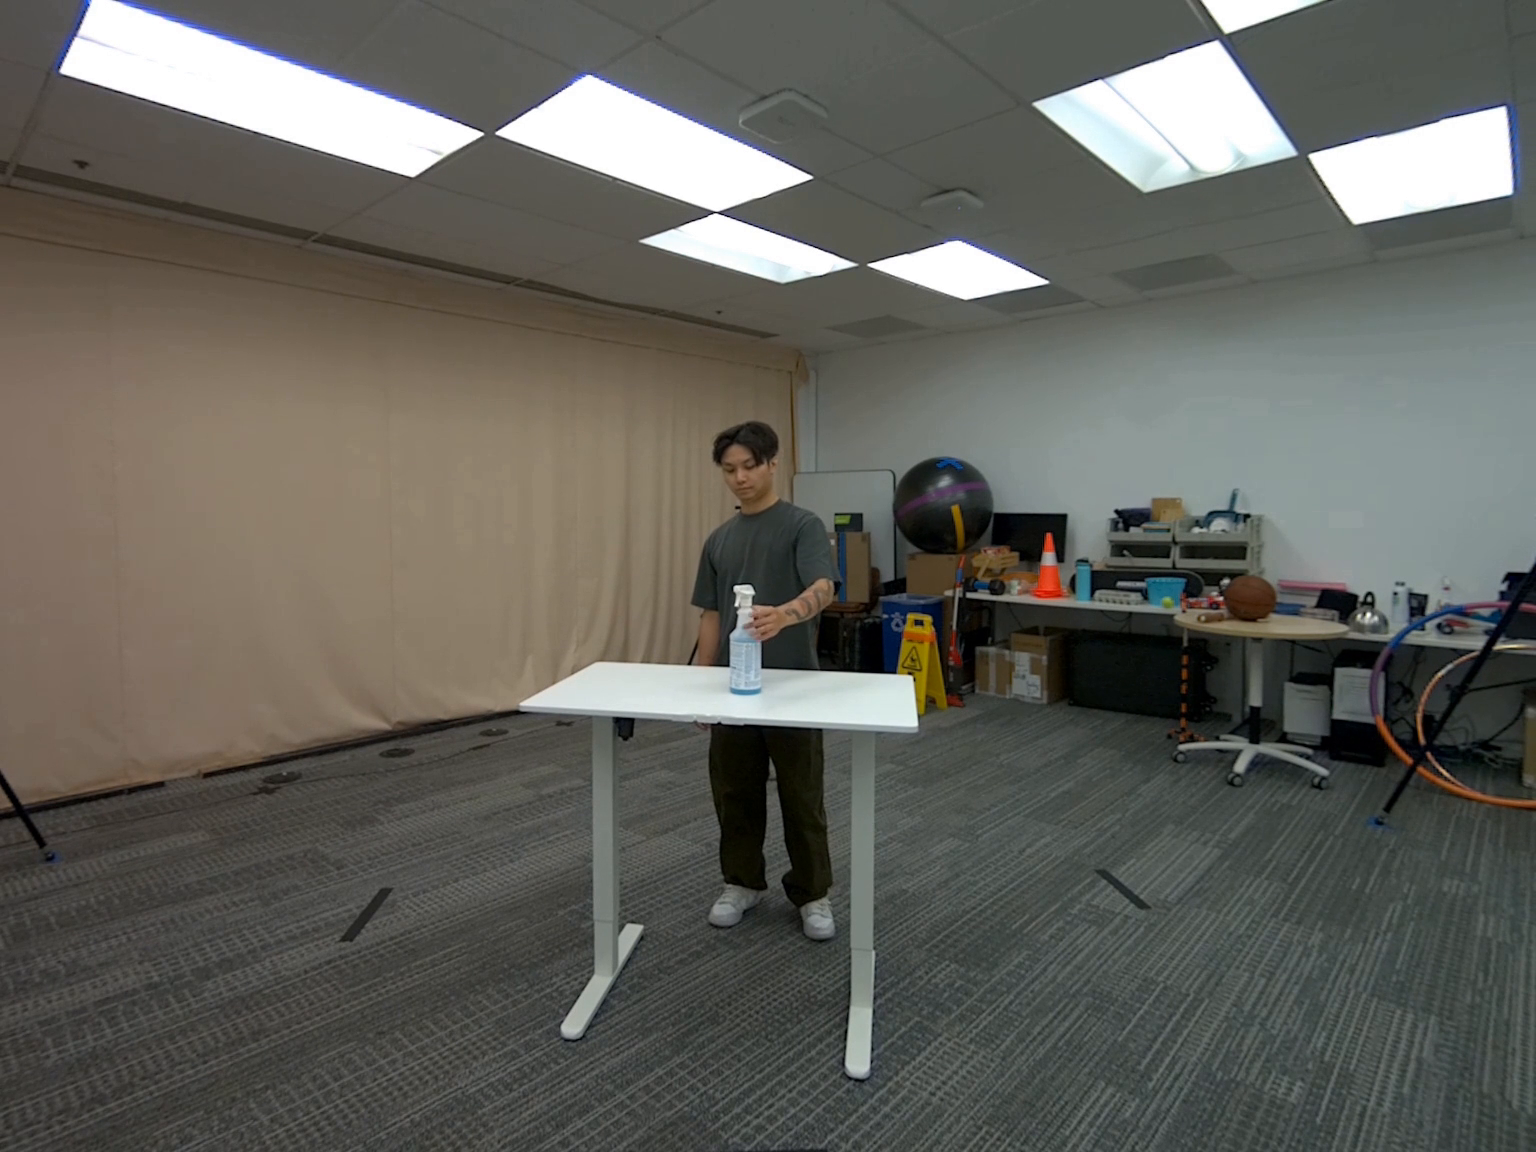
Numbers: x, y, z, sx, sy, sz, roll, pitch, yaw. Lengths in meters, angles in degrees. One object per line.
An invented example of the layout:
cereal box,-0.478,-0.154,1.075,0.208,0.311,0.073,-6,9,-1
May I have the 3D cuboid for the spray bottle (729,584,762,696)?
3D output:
spray bottle,-0.058,0.173,2.309,0.087,0.297,0.090,-2,4,-32
